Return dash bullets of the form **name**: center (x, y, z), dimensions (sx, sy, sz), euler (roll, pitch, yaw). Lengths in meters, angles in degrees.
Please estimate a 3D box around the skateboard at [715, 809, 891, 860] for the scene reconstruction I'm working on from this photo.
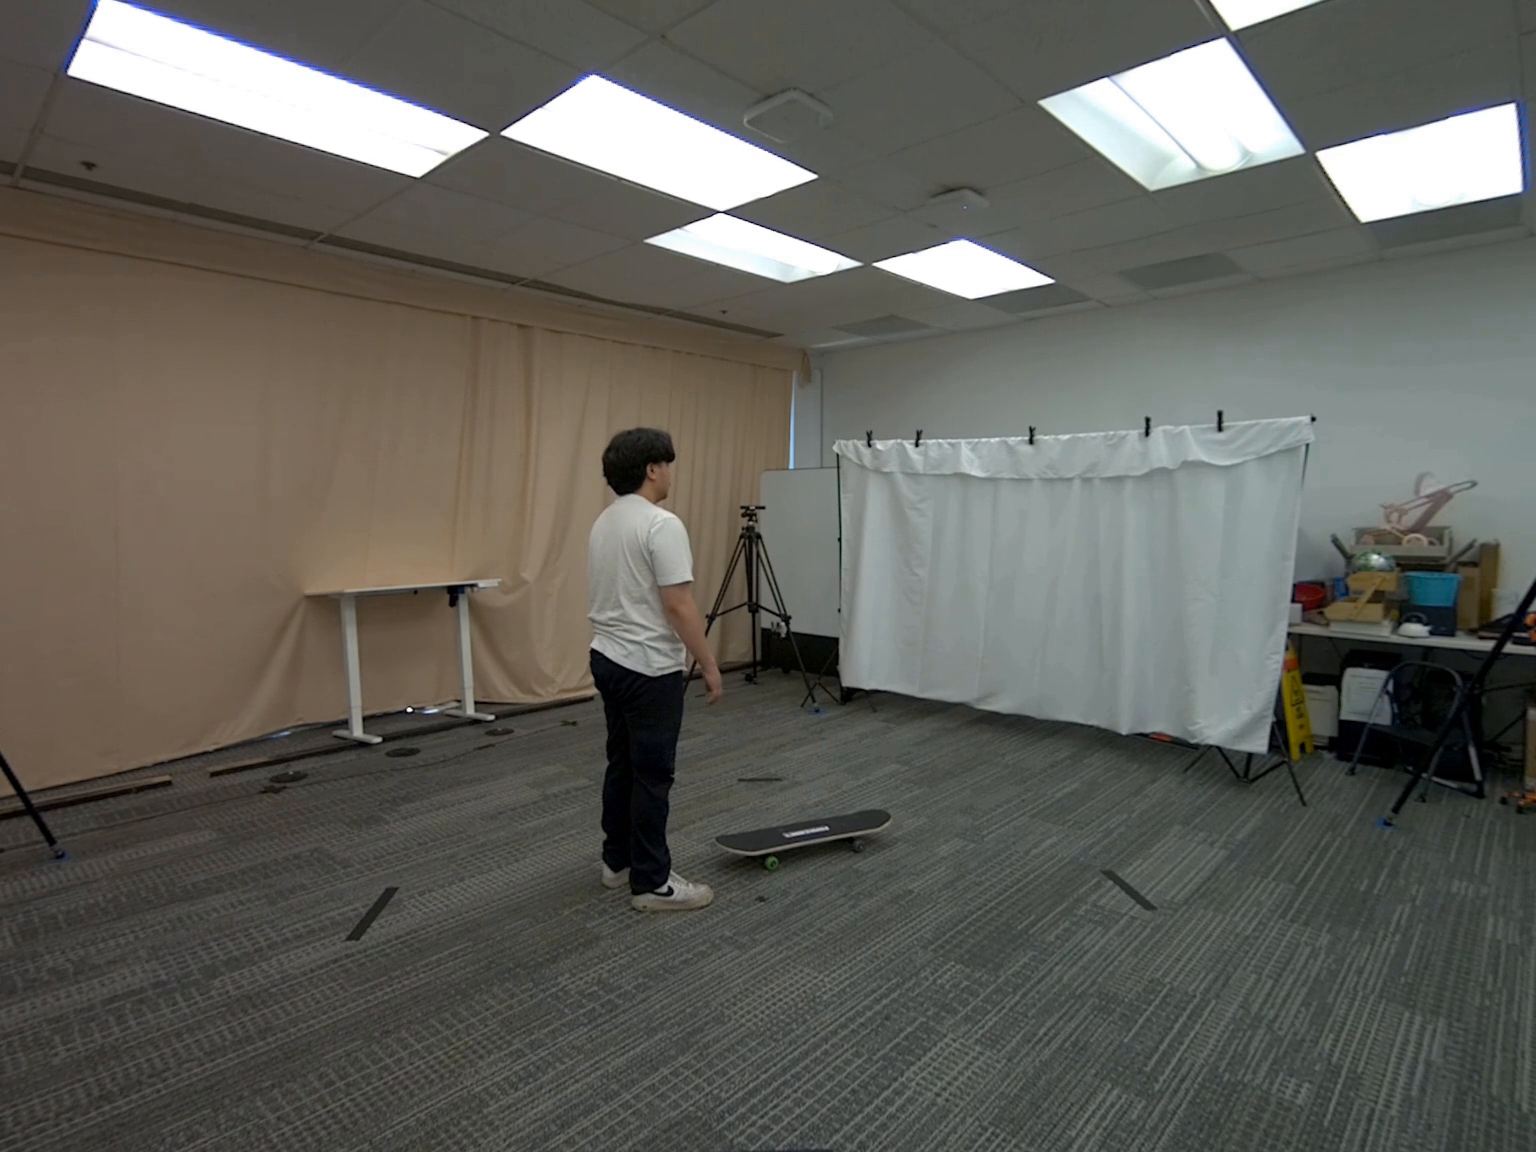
- **skateboard**: center (0.152, 1.055, 3.369), dimensions (0.767, 0.110, 0.198), euler (-2, 5, -25)
